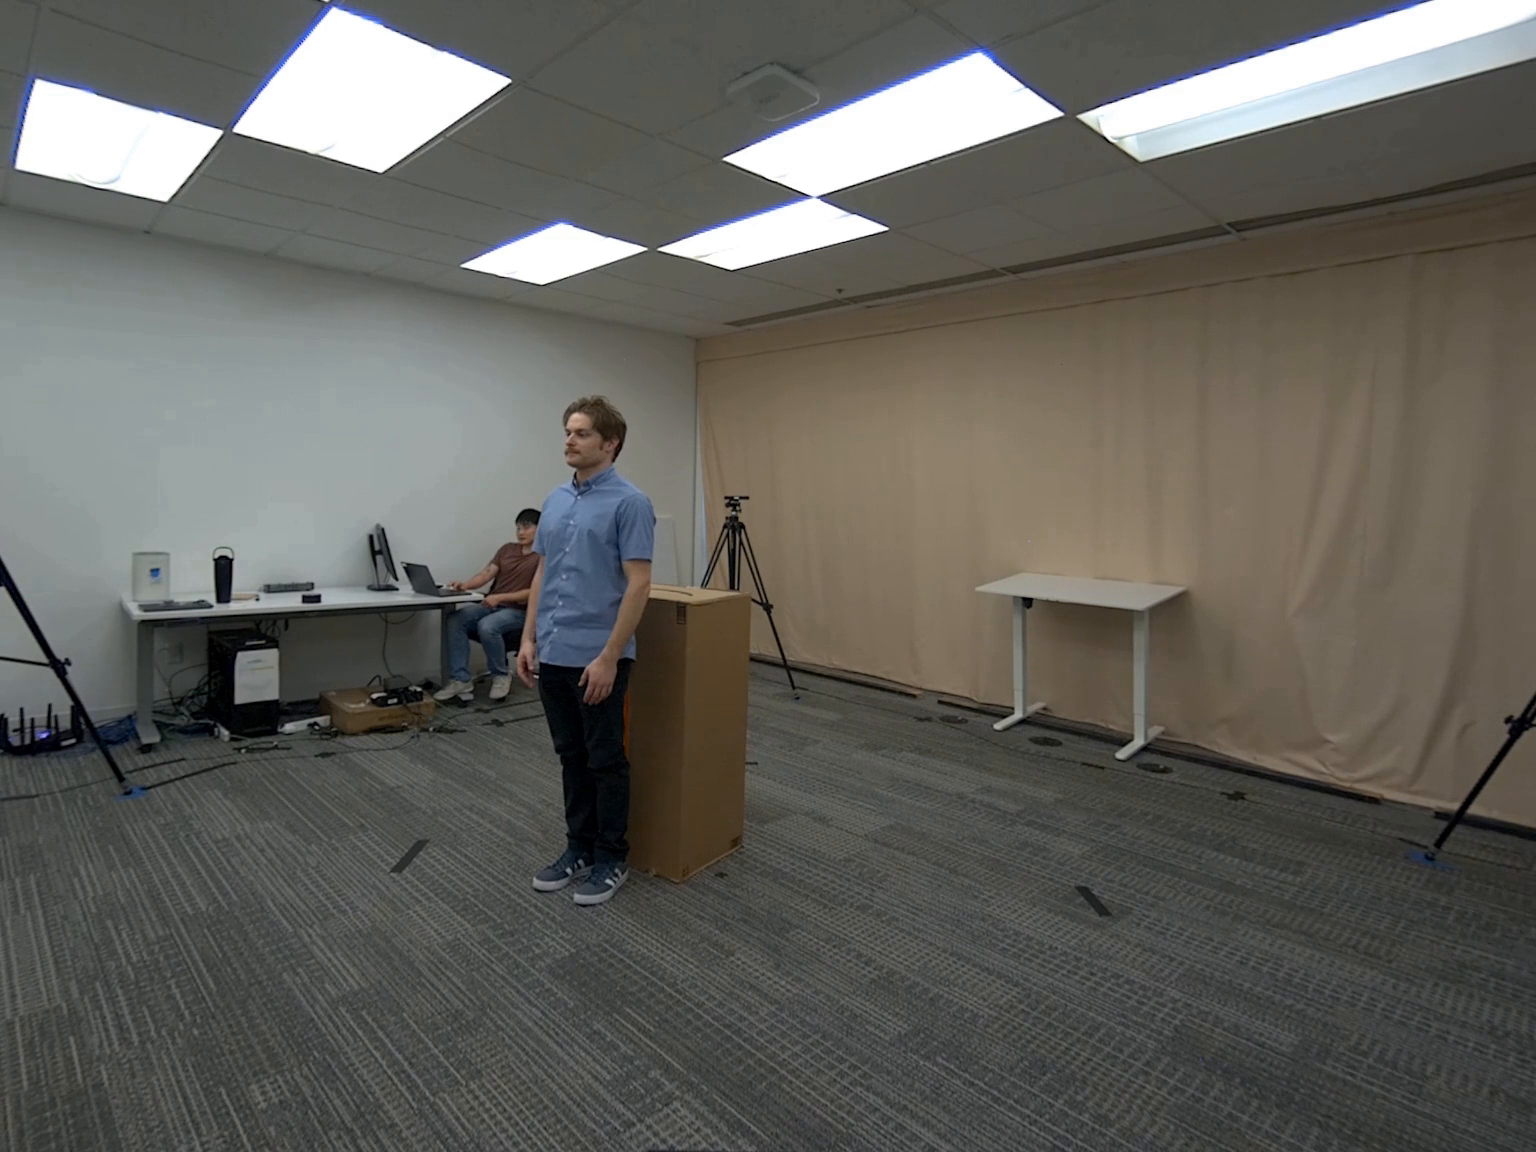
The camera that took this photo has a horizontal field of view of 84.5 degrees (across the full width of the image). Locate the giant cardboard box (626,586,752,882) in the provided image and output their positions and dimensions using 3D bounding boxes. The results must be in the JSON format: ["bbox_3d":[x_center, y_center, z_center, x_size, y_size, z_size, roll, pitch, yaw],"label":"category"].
[{"bbox_3d":[-0.437,0.572,3.331,0.597,1.025,0.437,4,3,32],"label":"giant cardboard box"}]
